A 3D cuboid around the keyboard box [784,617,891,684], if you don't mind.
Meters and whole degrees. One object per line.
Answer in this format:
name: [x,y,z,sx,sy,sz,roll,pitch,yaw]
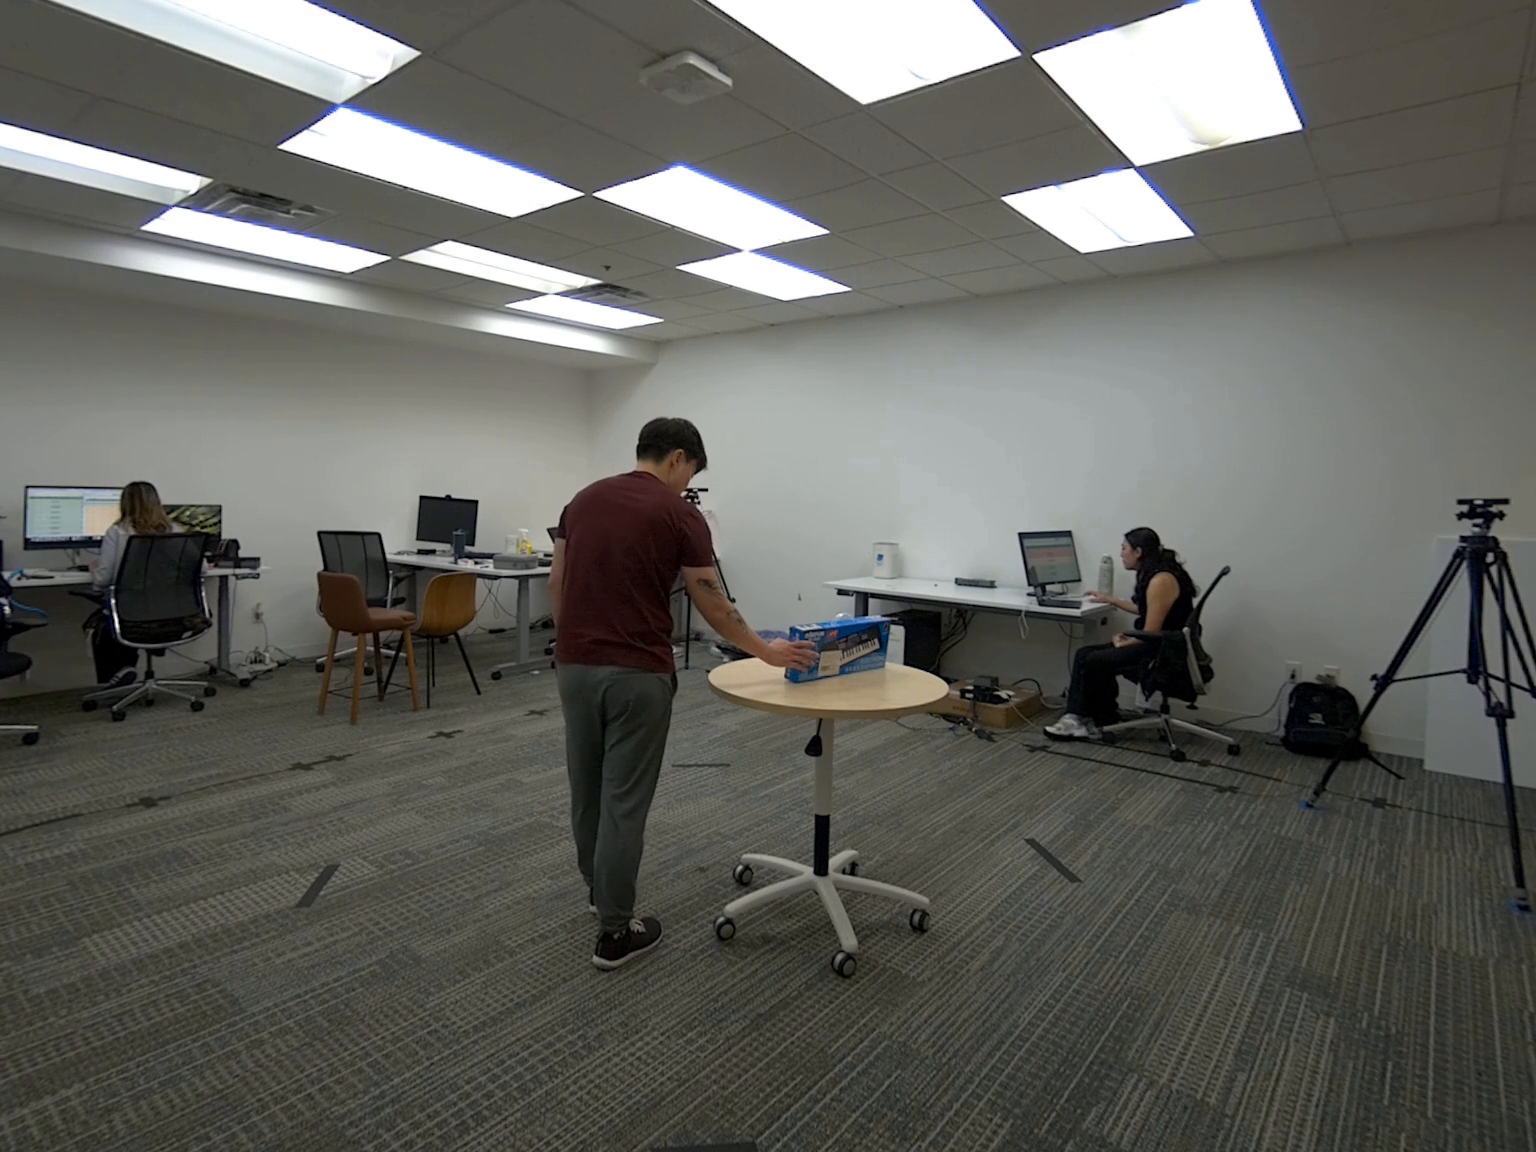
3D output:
keyboard box: [0.235,0.240,2.821,0.424,0.174,0.061,-4,13,-41]
